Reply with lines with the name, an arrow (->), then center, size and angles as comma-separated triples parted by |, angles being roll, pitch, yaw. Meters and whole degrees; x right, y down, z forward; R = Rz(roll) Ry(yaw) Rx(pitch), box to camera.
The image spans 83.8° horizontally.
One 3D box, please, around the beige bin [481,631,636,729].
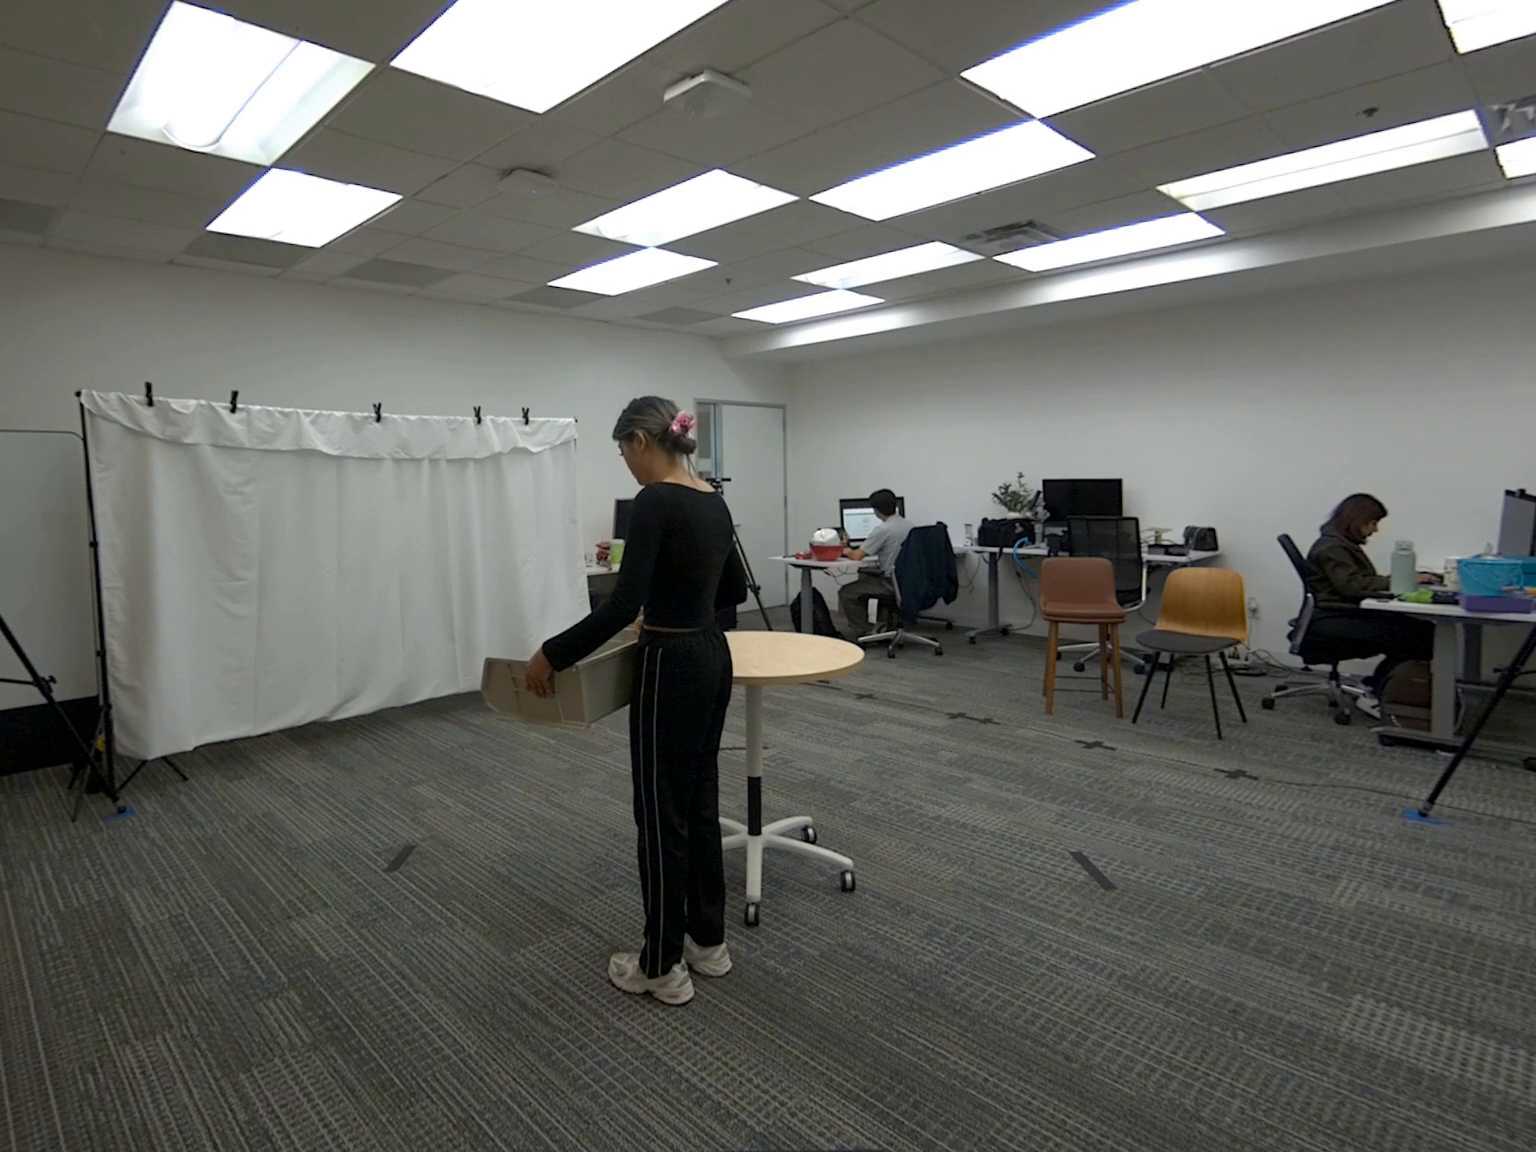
beige bin -> -0.542, 0.273, 2.471 | 0.387, 0.187, 0.415 | 2, 11, 29
